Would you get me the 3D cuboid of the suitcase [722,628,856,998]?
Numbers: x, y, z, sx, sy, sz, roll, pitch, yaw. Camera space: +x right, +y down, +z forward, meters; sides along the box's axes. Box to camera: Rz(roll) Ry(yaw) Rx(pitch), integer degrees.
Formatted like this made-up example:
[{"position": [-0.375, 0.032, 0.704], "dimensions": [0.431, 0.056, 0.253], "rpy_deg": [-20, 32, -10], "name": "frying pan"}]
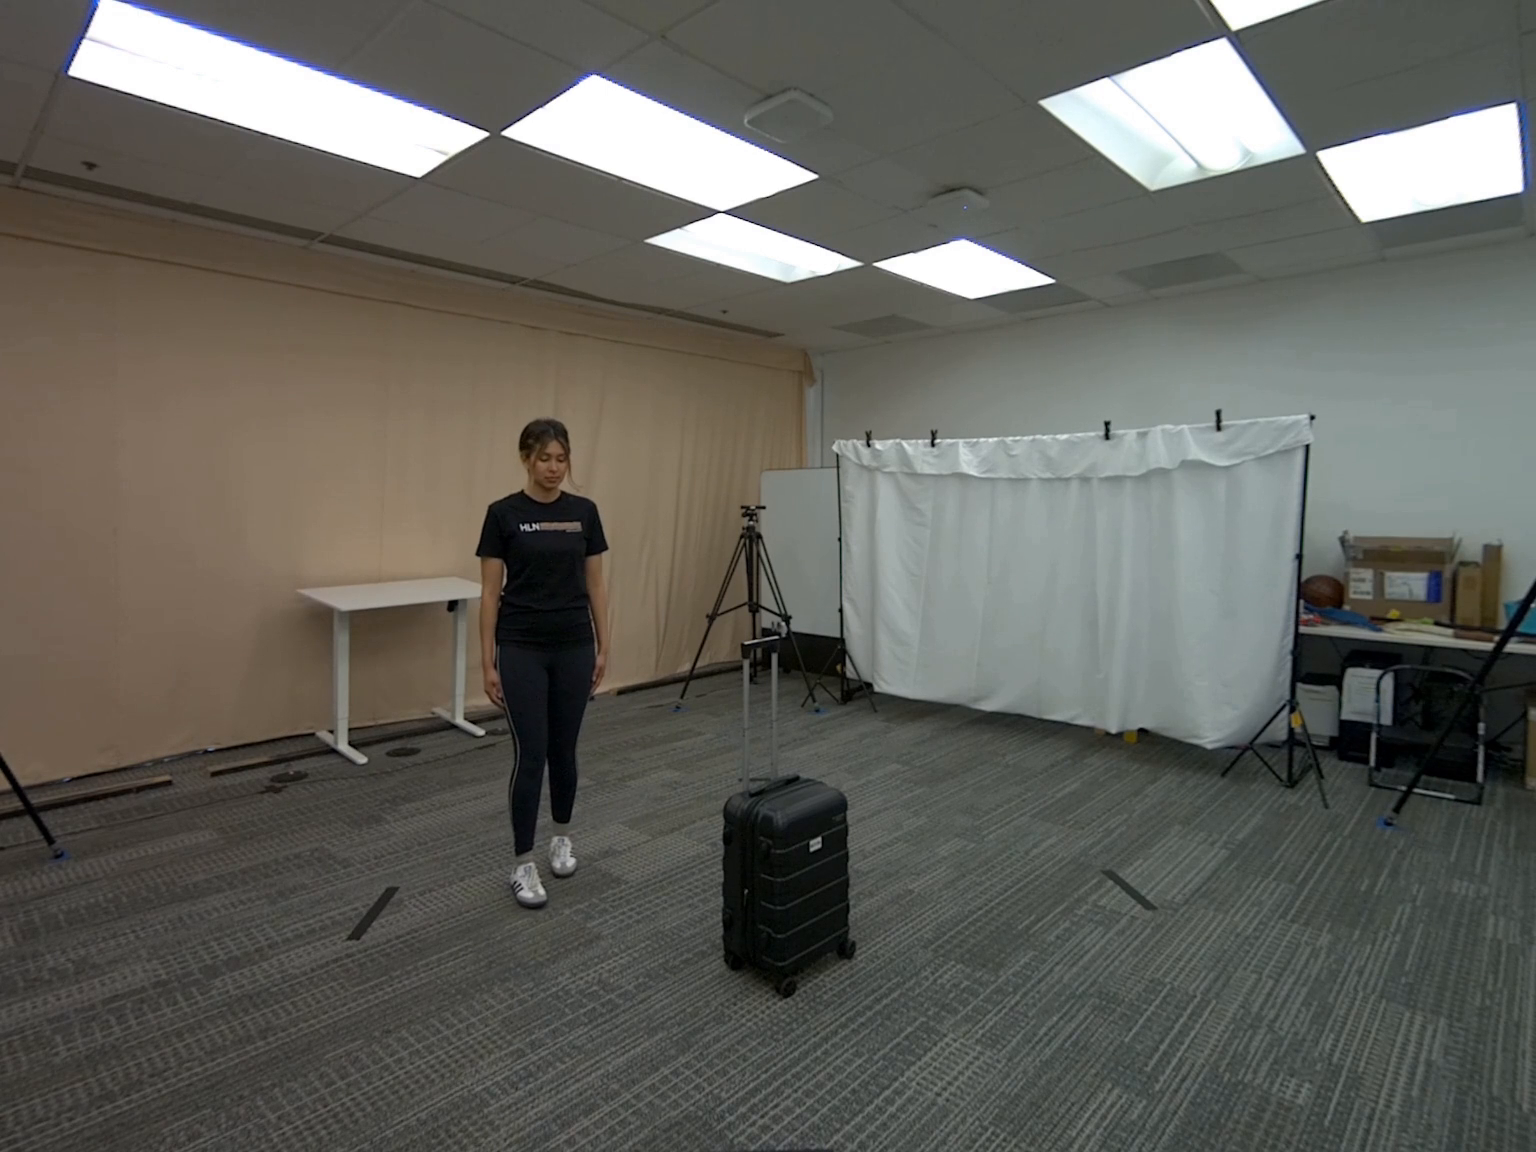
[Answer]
[{"position": [0.066, 0.707, 2.526], "dimensions": [0.266, 0.975, 0.372], "rpy_deg": [6, 8, 44], "name": "suitcase"}]
